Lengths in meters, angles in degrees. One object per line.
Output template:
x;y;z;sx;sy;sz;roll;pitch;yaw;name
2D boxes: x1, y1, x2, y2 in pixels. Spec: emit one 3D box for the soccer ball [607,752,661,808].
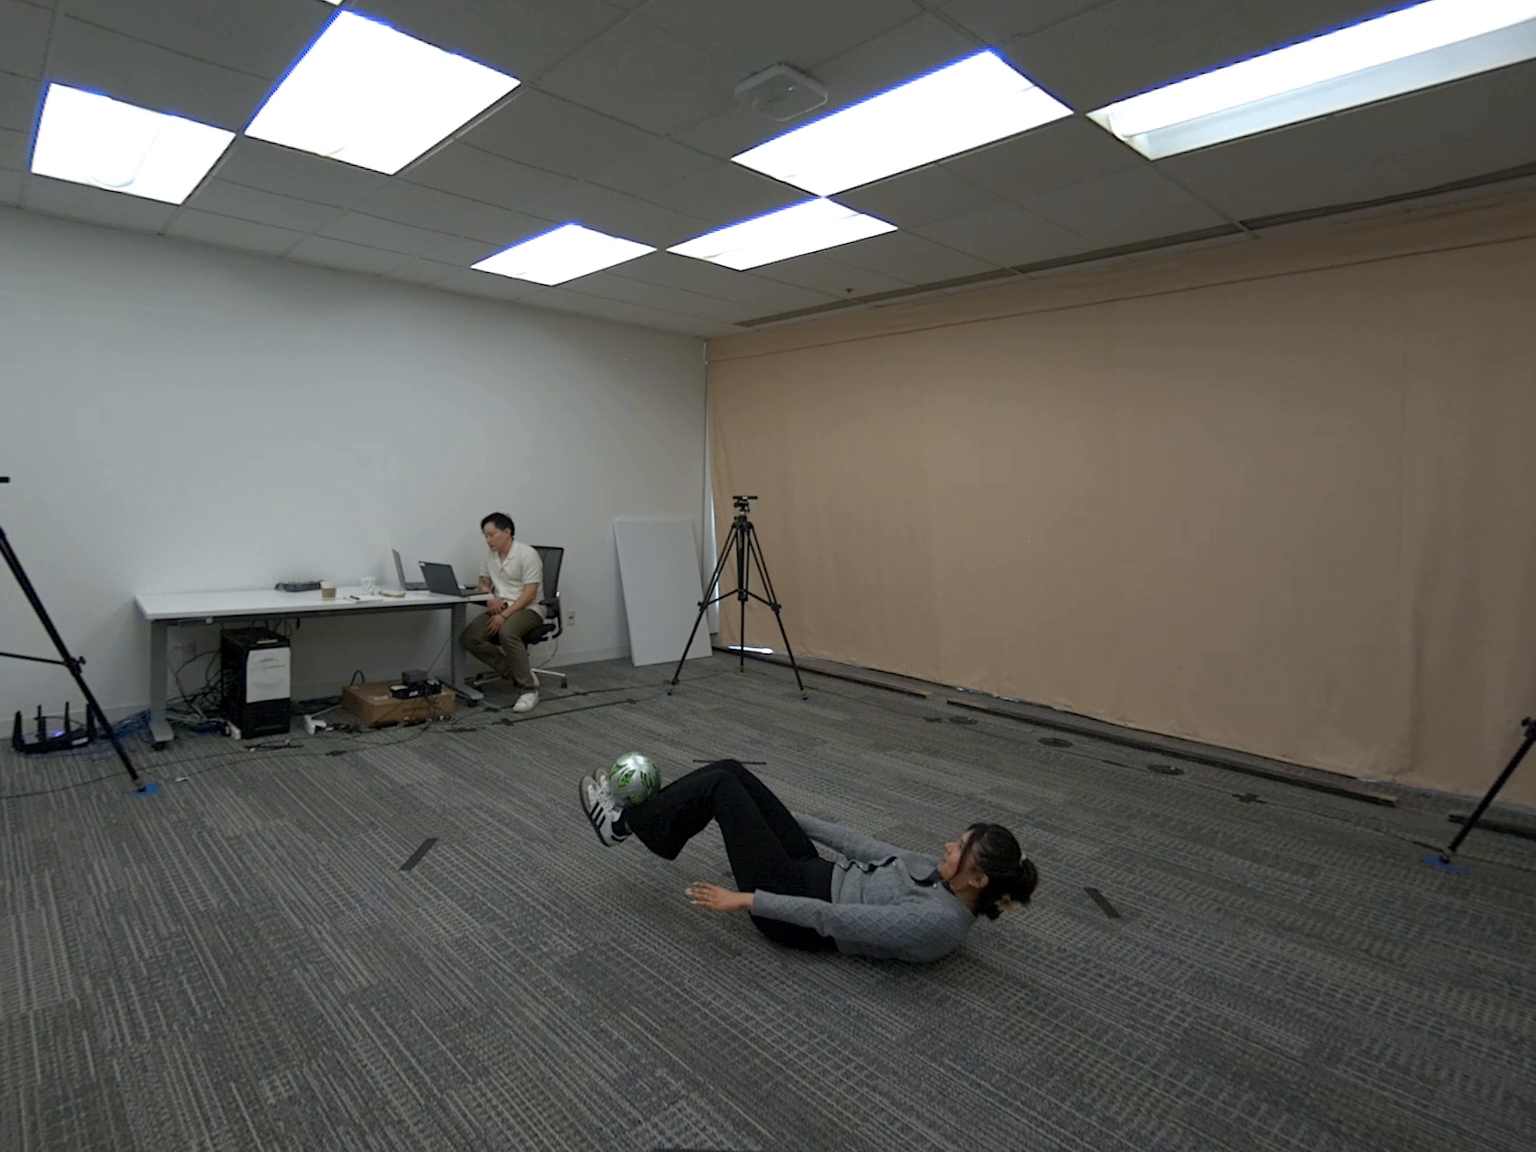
-0.475;0.706;2.915;0.187;0.187;0.188;1;4;-1;soccer ball
